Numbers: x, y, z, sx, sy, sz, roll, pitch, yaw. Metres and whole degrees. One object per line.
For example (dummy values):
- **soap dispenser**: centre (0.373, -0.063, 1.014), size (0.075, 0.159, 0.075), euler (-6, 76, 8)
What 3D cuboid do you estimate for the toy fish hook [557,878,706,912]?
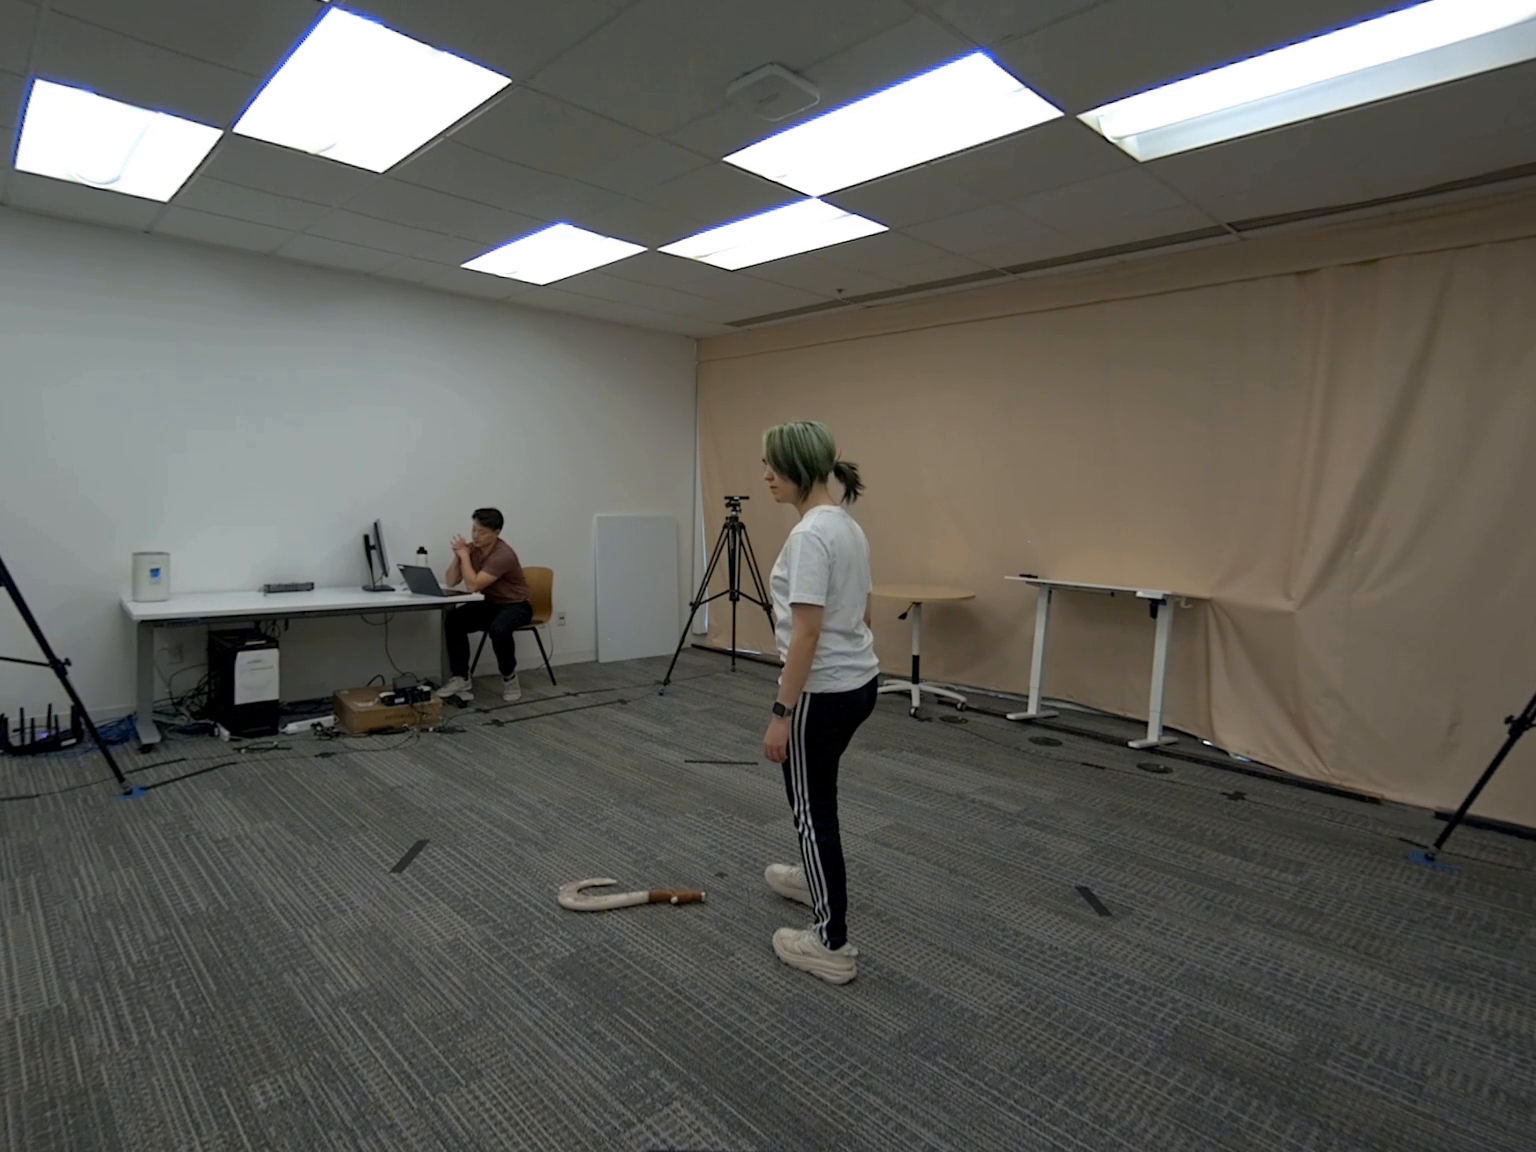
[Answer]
- **toy fish hook**: centre (-0.474, 1.088, 2.918), size (0.504, 0.048, 0.226), euler (1, 6, -6)
